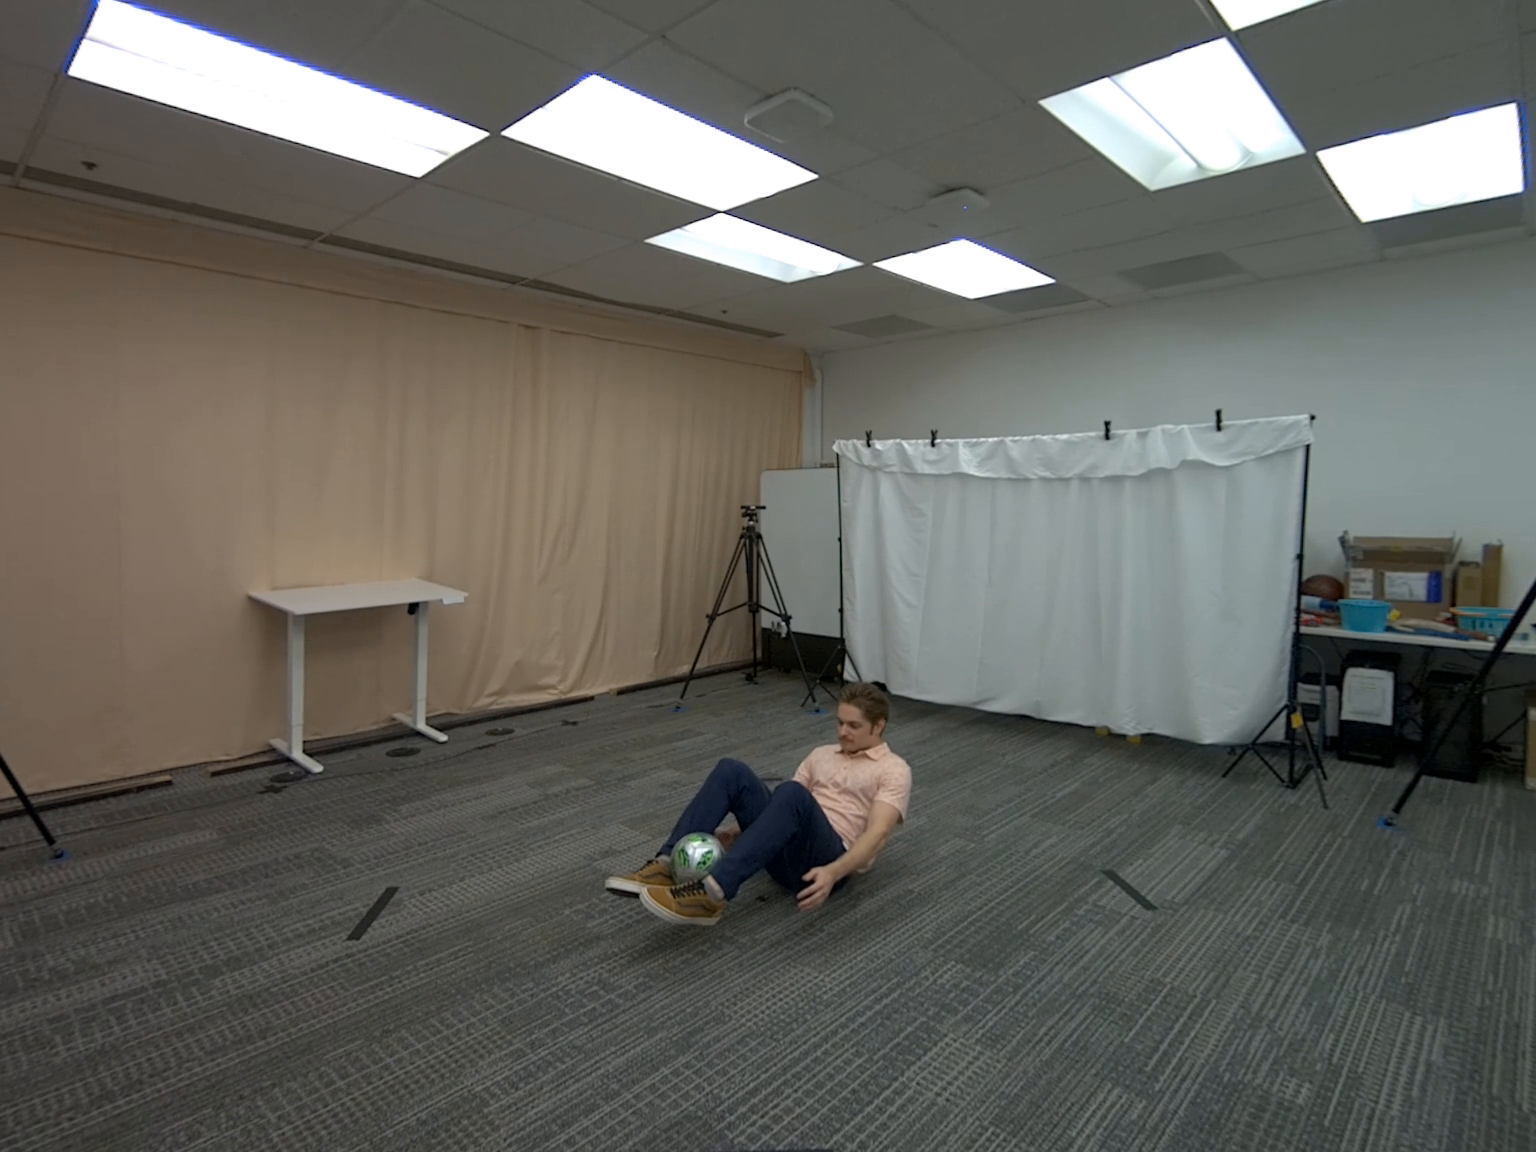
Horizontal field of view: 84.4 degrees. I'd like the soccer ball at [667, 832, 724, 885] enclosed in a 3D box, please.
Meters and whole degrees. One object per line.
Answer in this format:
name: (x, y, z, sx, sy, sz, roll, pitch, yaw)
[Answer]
soccer ball: (-0.221, 0.929, 2.729, 0.187, 0.187, 0.188, 0, 4, -2)
